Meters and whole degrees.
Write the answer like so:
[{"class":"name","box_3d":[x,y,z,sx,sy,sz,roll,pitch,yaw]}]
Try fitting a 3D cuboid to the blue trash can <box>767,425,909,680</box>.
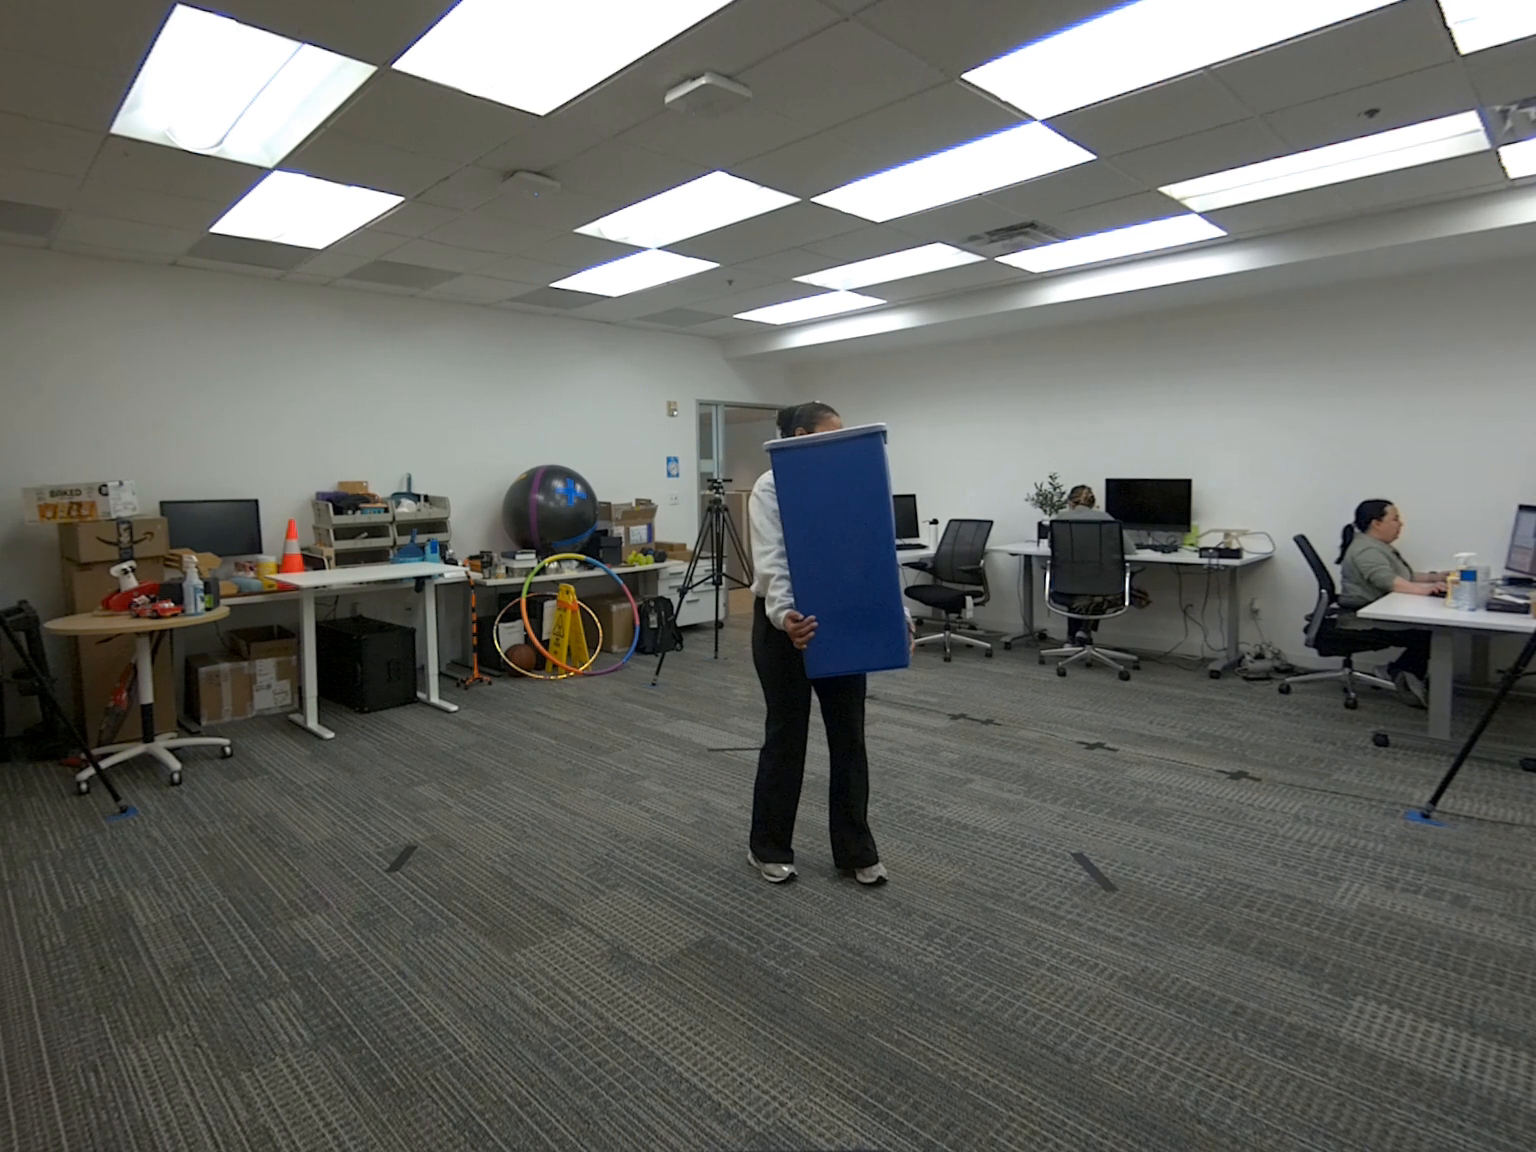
[{"class":"blue trash can","box_3d":[0.222,-0.070,2.652,0.377,0.716,0.374,-7,-3,8]}]
